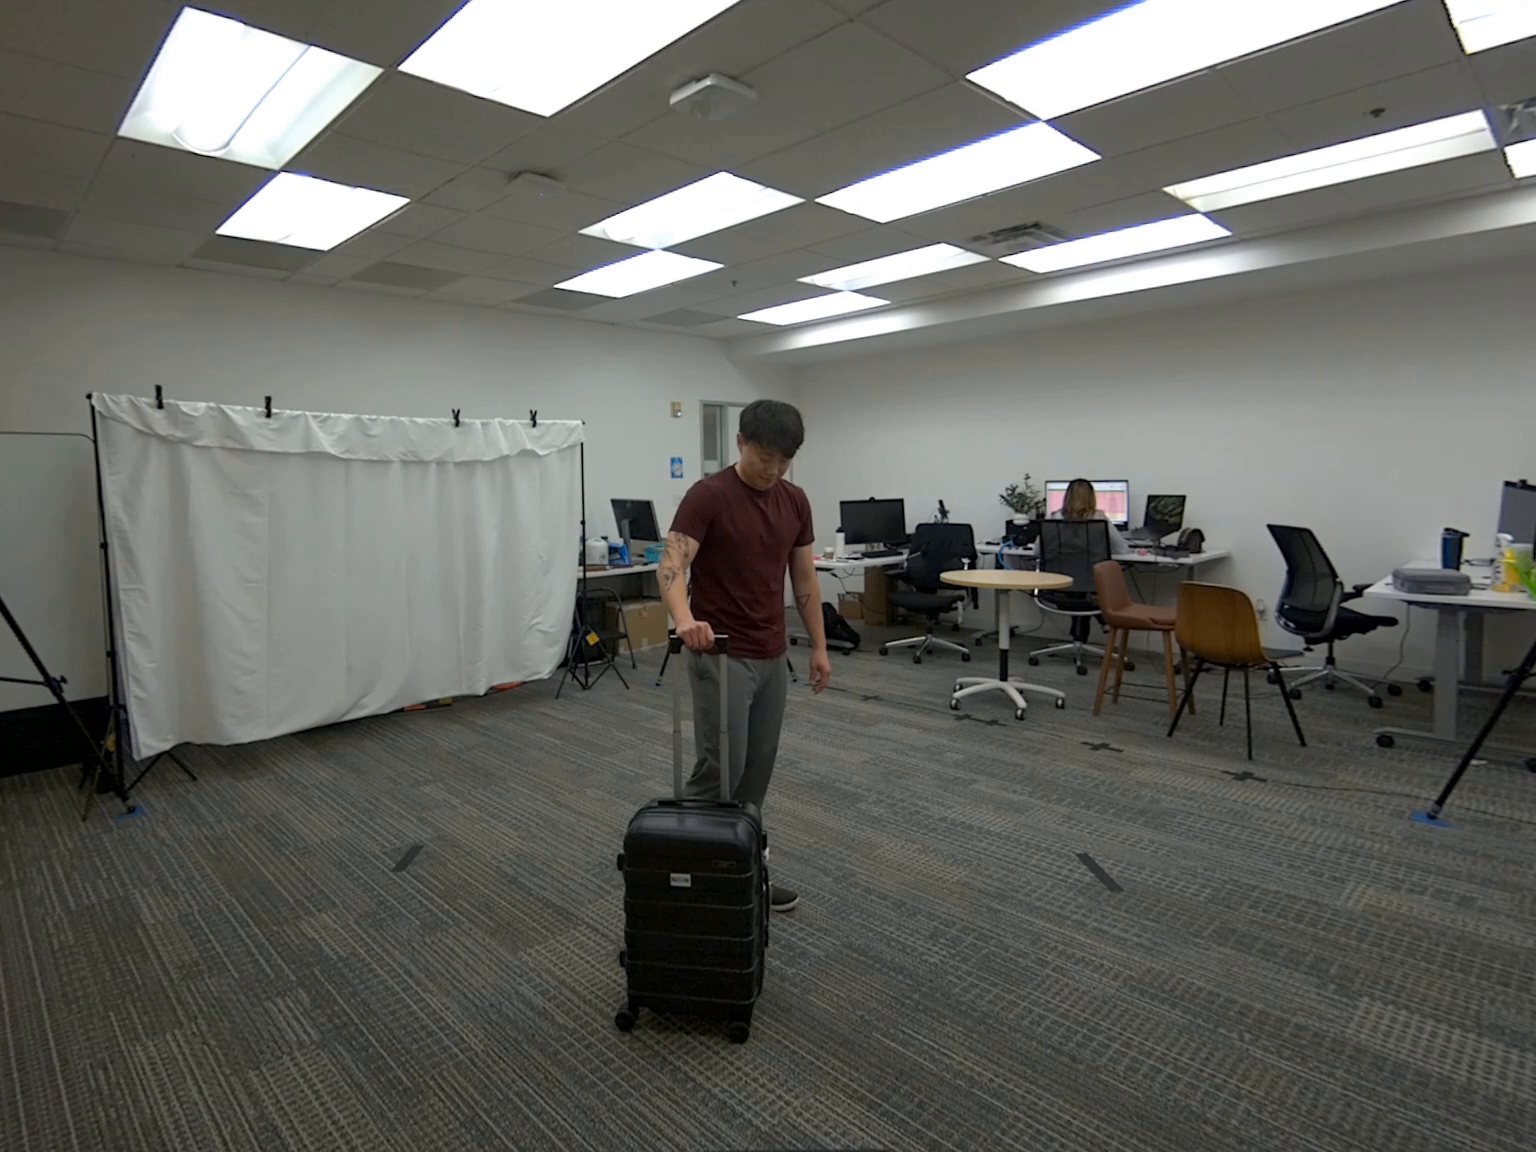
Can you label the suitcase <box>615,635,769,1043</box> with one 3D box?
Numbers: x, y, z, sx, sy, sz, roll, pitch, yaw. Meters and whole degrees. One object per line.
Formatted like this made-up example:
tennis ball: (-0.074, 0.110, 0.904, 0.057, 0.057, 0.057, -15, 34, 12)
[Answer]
suitcase: (-0.189, 0.676, 2.237, 0.387, 0.974, 0.256, 0, 5, 8)
